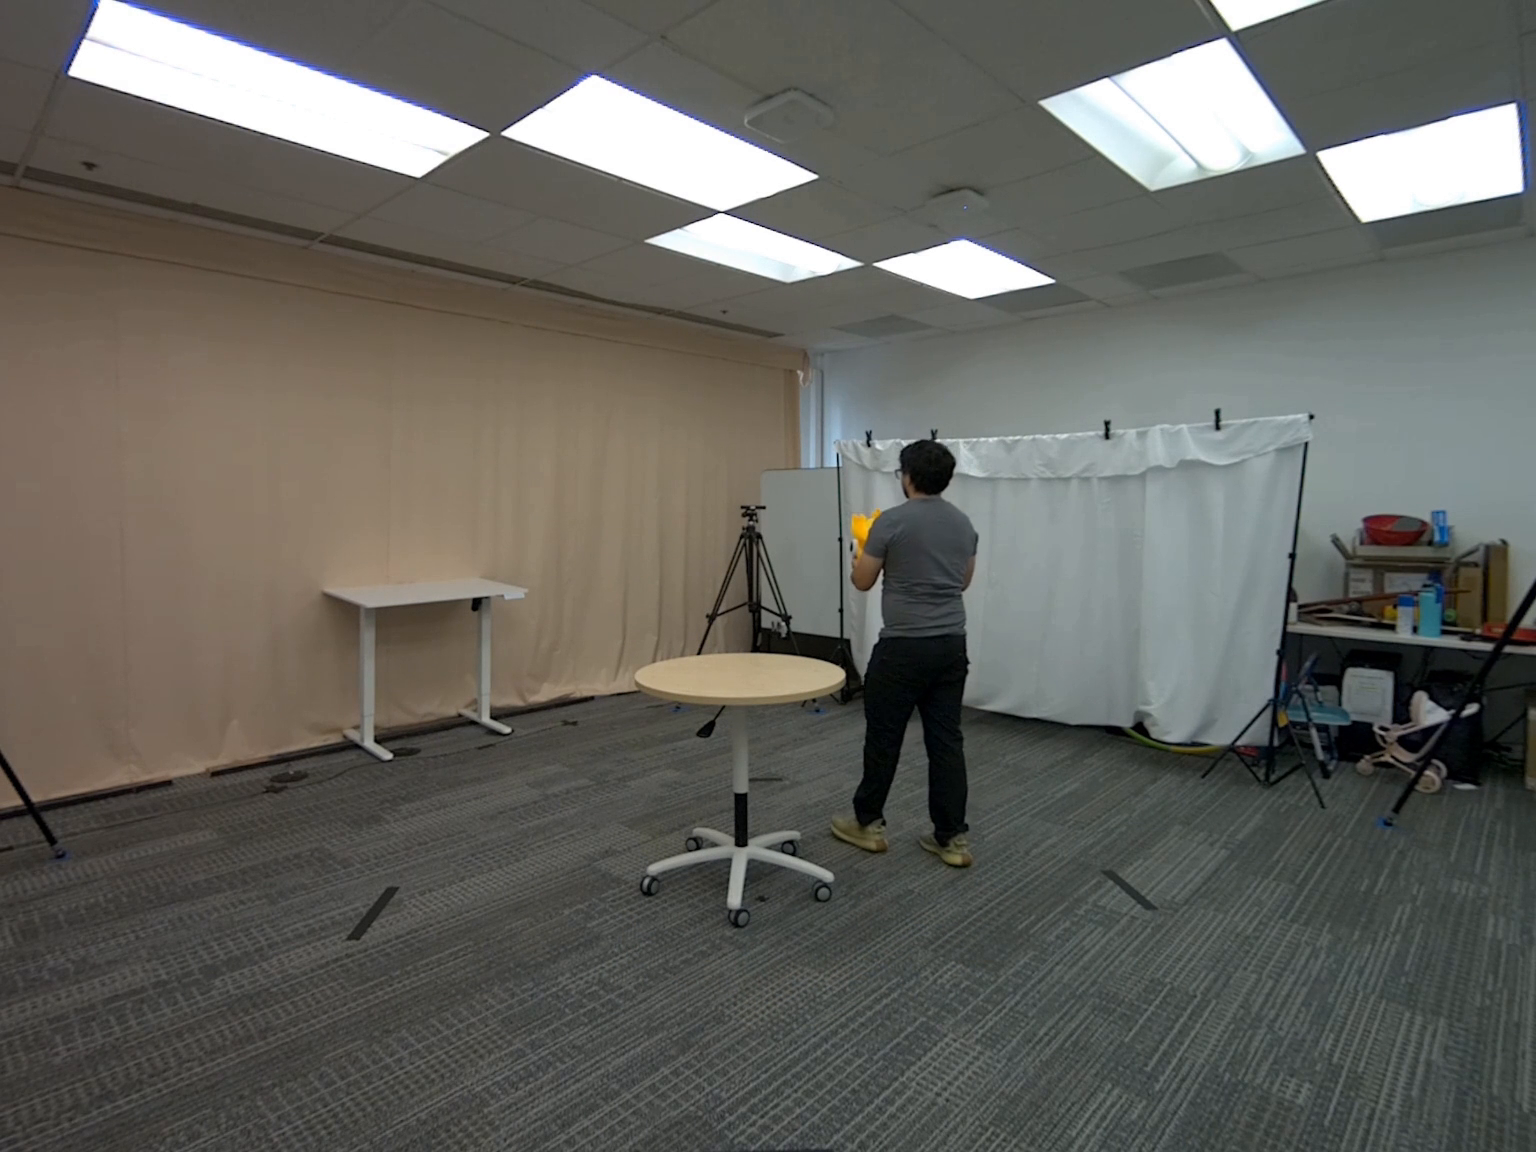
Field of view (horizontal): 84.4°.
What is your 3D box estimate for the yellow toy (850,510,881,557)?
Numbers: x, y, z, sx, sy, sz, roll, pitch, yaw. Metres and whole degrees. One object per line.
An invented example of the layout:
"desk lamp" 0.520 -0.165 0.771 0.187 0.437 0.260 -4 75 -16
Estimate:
"yellow toy" 0.429 -0.141 3.688 0.200 0.198 0.230 -16 -30 -30
